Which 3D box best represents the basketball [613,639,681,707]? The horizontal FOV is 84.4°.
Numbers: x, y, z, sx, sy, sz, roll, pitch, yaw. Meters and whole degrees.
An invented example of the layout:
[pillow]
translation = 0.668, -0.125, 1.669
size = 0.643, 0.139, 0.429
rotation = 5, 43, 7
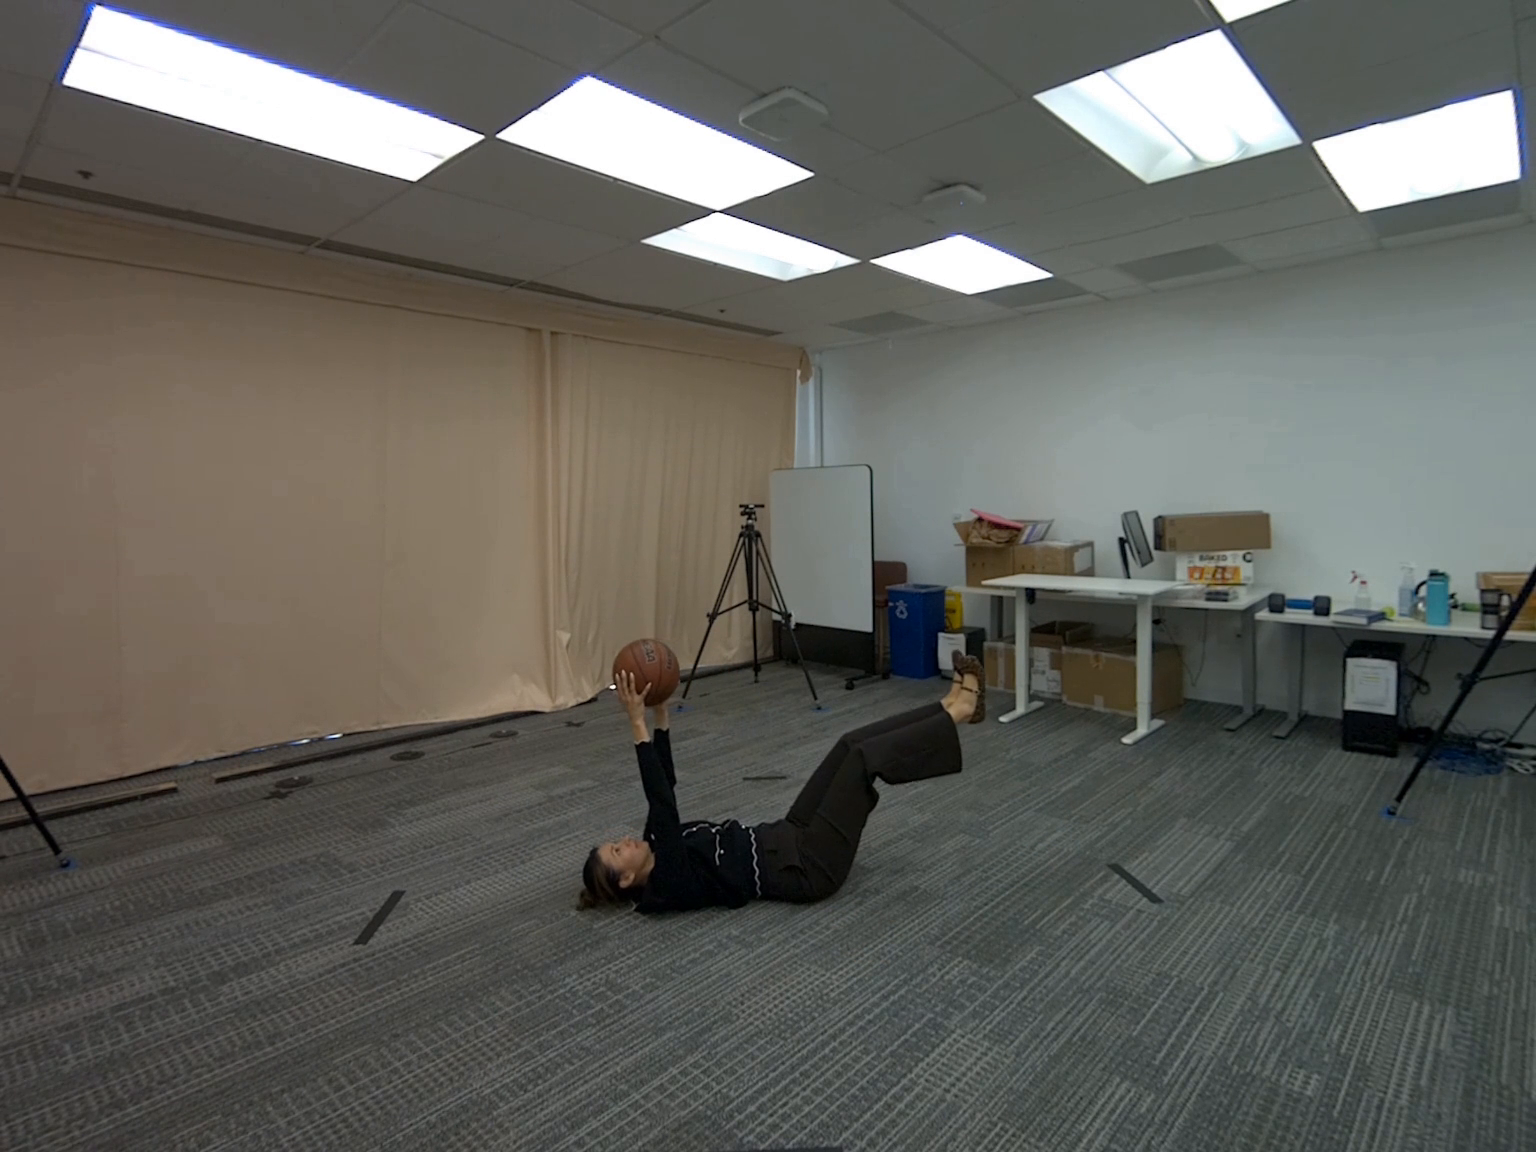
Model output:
[basketball]
translation = -0.420, 0.334, 2.944
size = 0.236, 0.235, 0.237
rotation = -1, 4, -2
